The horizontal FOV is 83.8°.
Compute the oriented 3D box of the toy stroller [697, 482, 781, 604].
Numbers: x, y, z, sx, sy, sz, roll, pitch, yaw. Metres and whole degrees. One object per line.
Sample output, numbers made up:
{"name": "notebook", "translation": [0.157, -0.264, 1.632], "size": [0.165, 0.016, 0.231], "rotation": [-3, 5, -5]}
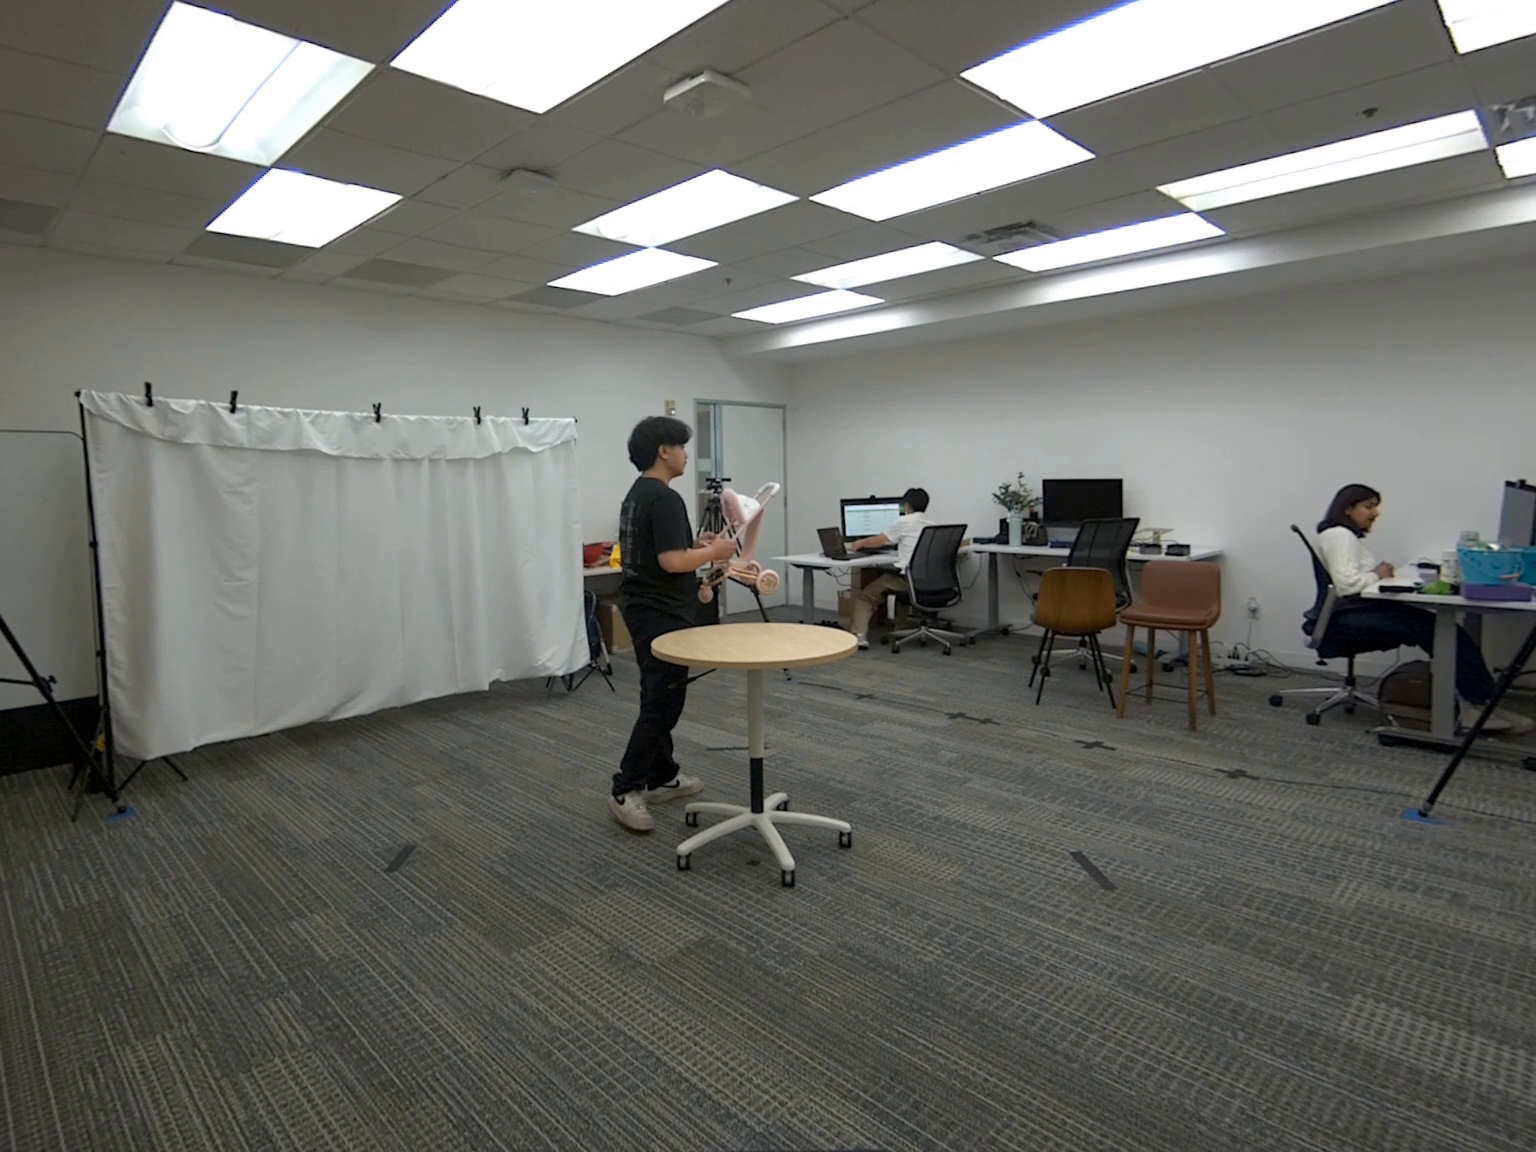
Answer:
{"name": "toy stroller", "translation": [-0.142, -0.146, 3.768], "size": [0.337, 0.531, 0.287], "rotation": [1, 8, -12]}
